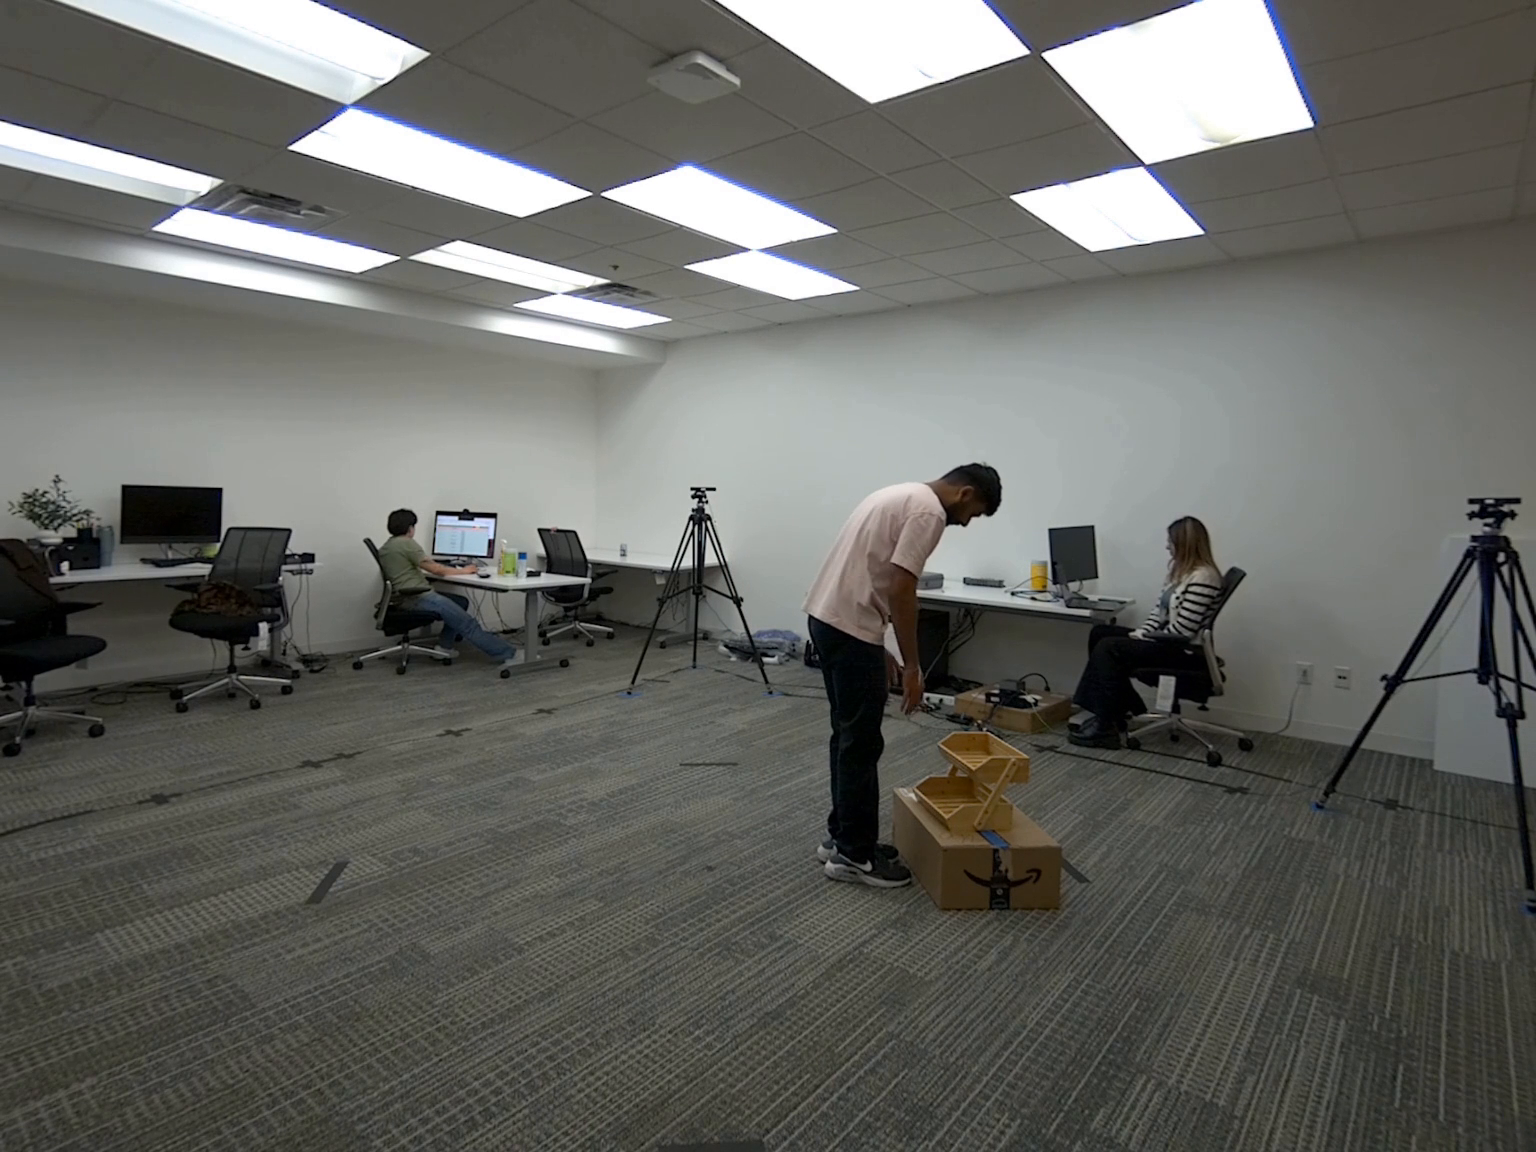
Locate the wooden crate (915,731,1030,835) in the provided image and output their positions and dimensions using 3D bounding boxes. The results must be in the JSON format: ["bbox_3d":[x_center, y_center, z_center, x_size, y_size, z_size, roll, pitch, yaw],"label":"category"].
[{"bbox_3d":[0.731,0.748,3.128,0.298,0.272,0.330,2,5,-13],"label":"wooden crate"}]
